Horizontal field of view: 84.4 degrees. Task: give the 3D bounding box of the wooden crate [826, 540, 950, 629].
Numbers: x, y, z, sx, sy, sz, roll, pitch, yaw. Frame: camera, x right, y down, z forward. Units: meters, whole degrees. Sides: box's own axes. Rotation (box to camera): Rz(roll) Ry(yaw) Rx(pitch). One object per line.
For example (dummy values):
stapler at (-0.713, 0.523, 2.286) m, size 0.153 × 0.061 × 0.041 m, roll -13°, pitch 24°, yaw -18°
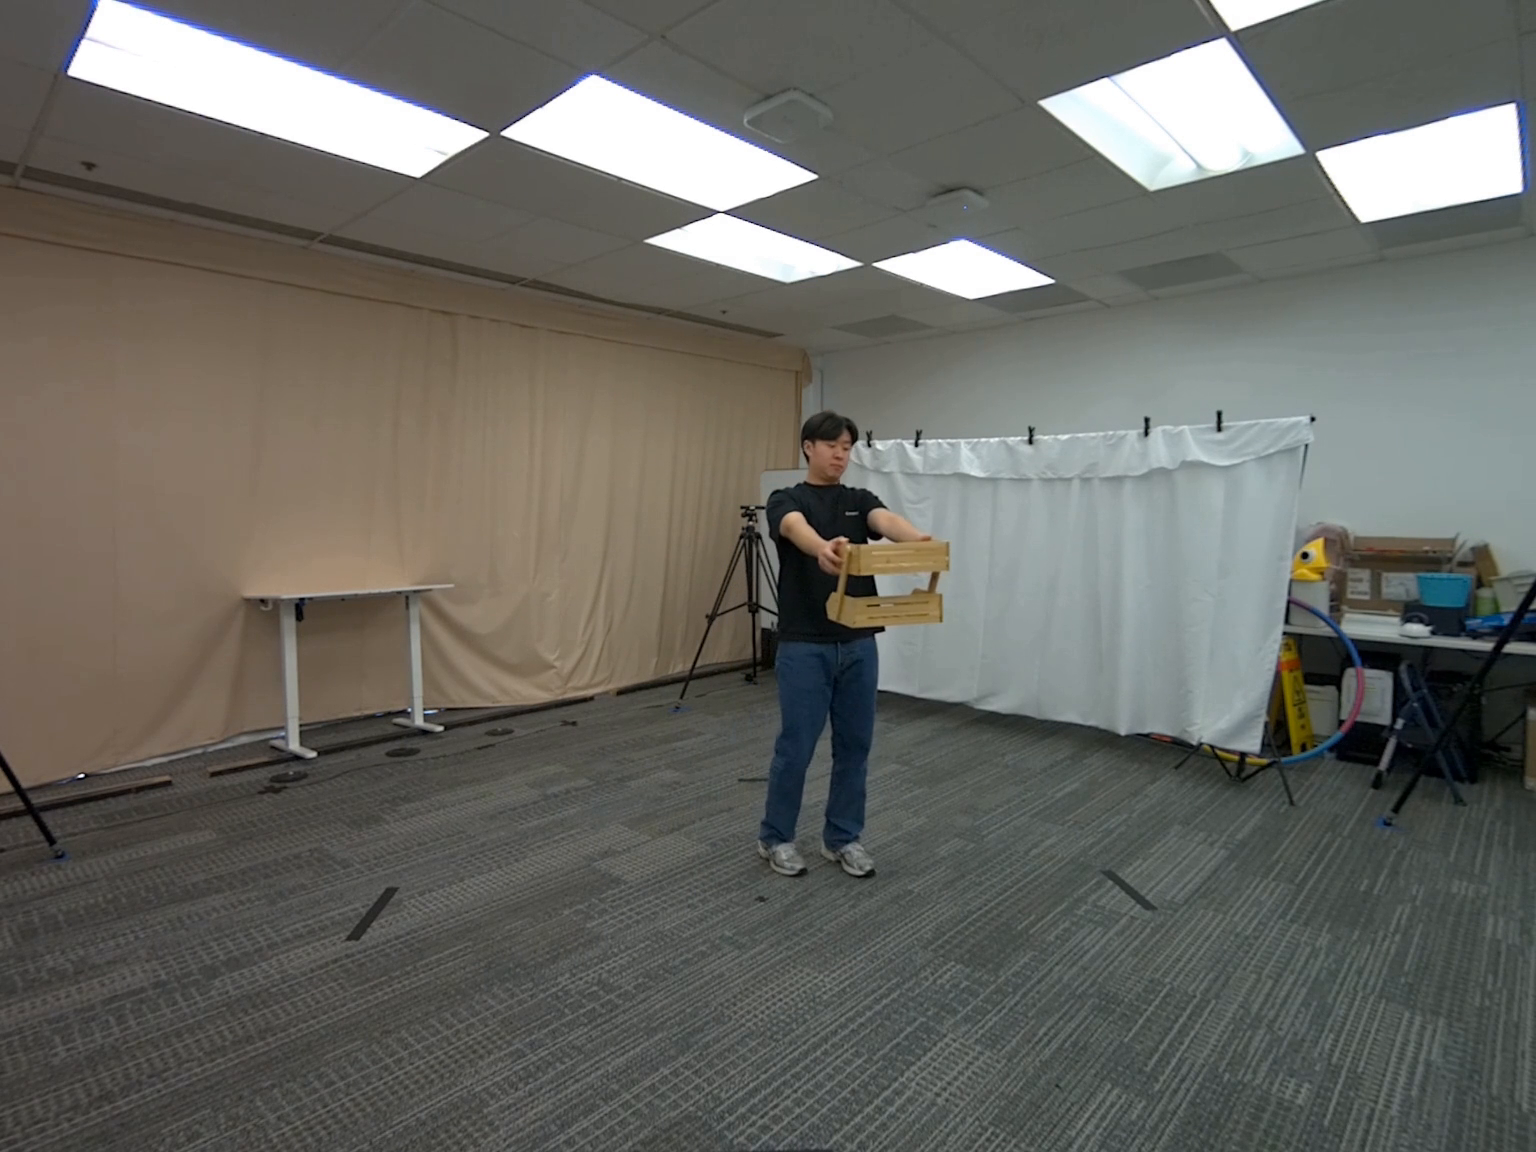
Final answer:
wooden crate at (0.376, 0.018, 2.739) m, size 0.321 × 0.272 × 0.306 m, roll -2°, pitch 5°, yaw -10°
